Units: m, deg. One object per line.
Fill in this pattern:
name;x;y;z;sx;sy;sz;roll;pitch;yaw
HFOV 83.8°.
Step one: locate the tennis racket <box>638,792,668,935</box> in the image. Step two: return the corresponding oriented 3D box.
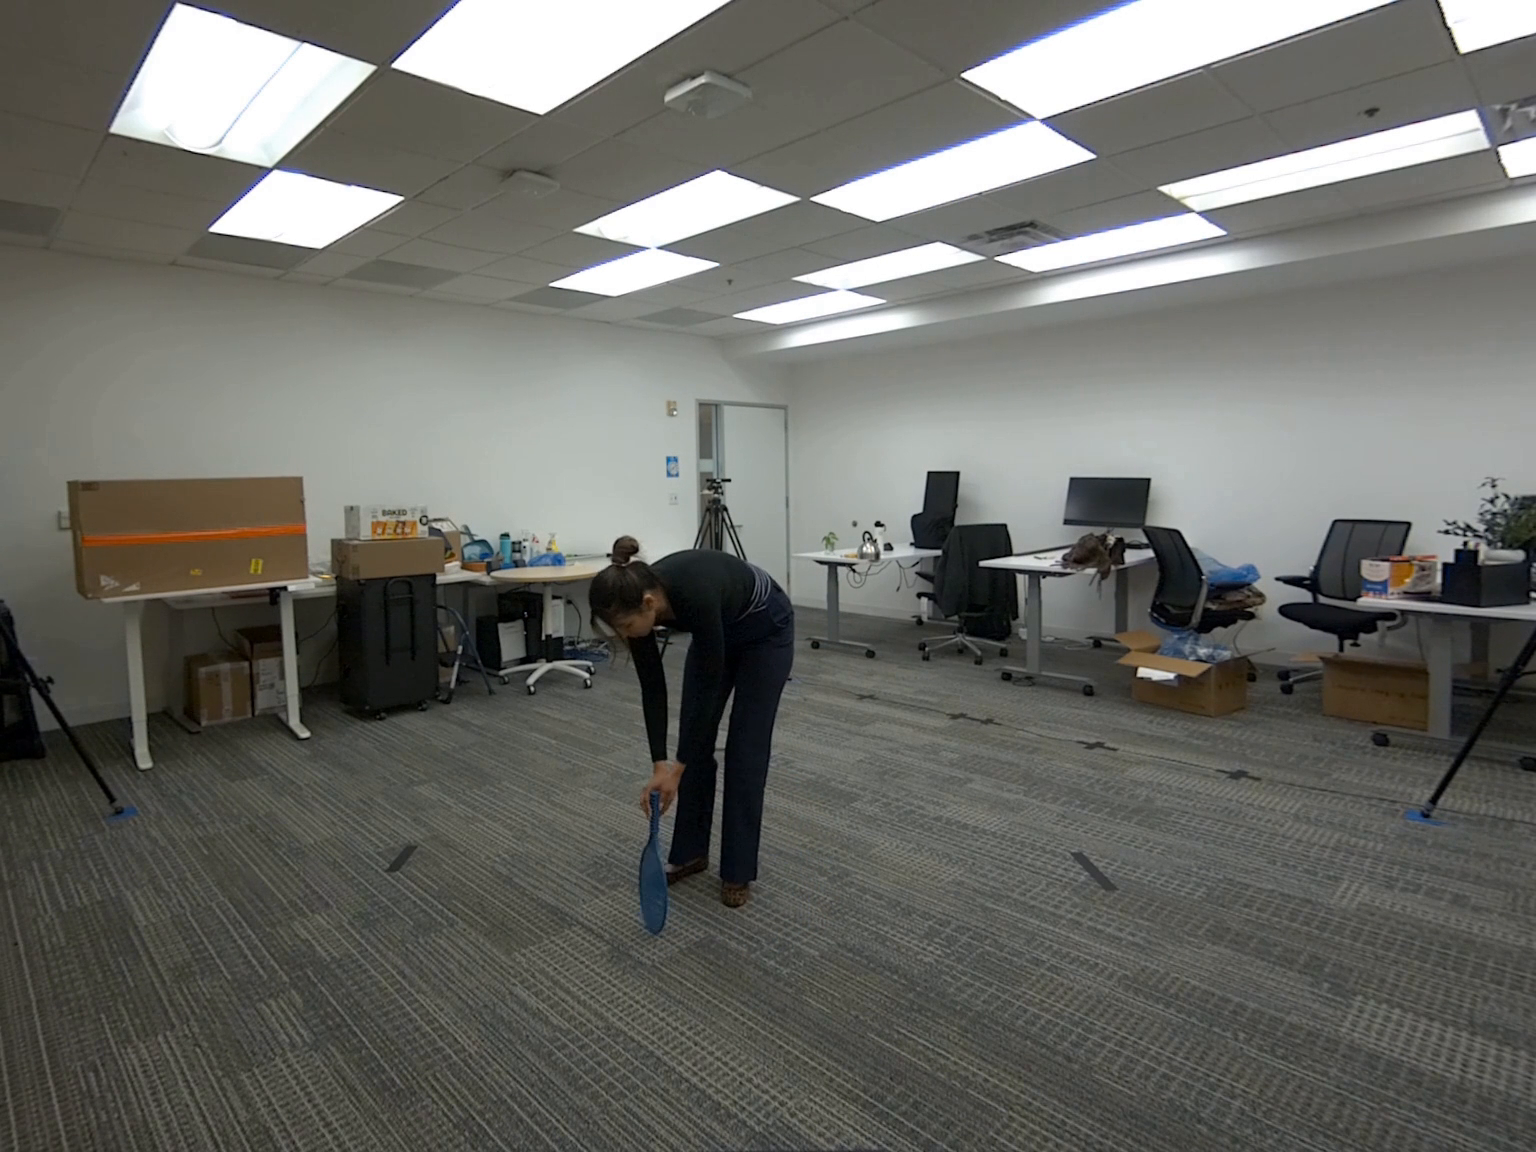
tennis racket;-0.352;0.885;2.652;0.031;0.432;0.219;-1;4;-27
